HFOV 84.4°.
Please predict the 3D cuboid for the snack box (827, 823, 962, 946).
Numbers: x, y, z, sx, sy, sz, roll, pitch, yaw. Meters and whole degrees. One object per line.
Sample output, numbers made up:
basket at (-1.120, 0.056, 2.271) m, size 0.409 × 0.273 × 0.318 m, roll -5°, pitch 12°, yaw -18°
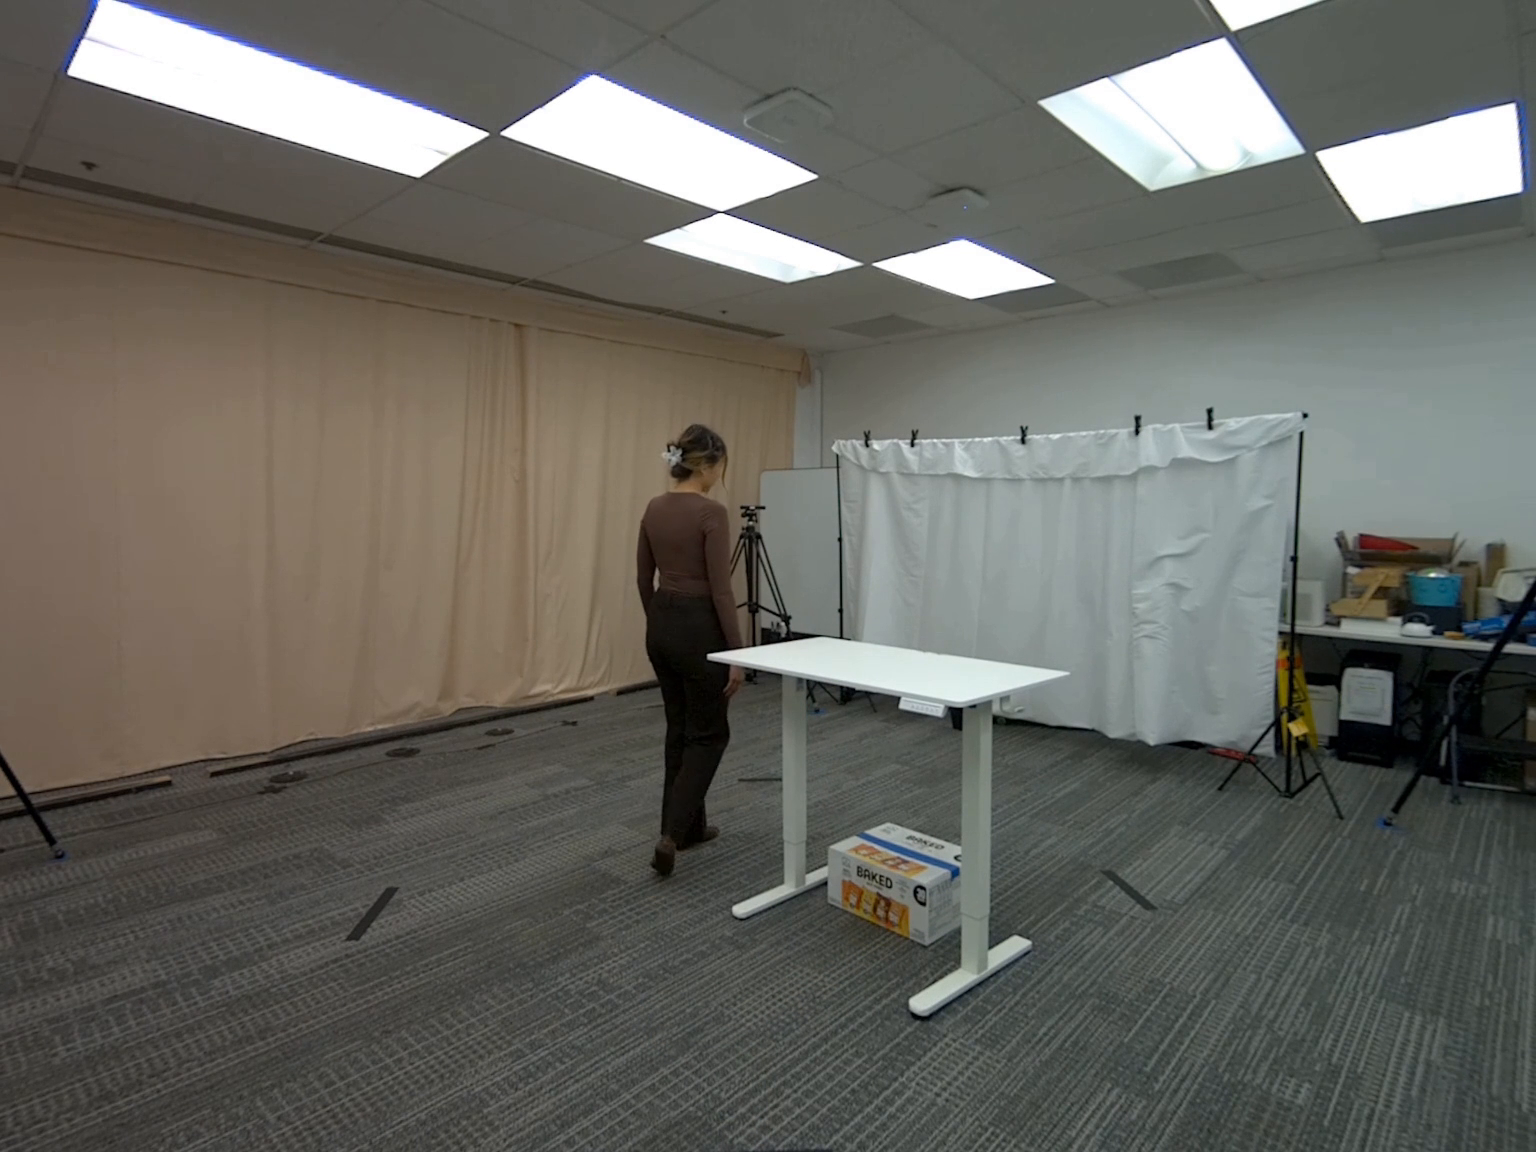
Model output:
snack box at (0.480, 1.048, 2.902) m, size 0.330 × 0.205 × 0.419 m, roll -5°, pitch 6°, yaw -44°
